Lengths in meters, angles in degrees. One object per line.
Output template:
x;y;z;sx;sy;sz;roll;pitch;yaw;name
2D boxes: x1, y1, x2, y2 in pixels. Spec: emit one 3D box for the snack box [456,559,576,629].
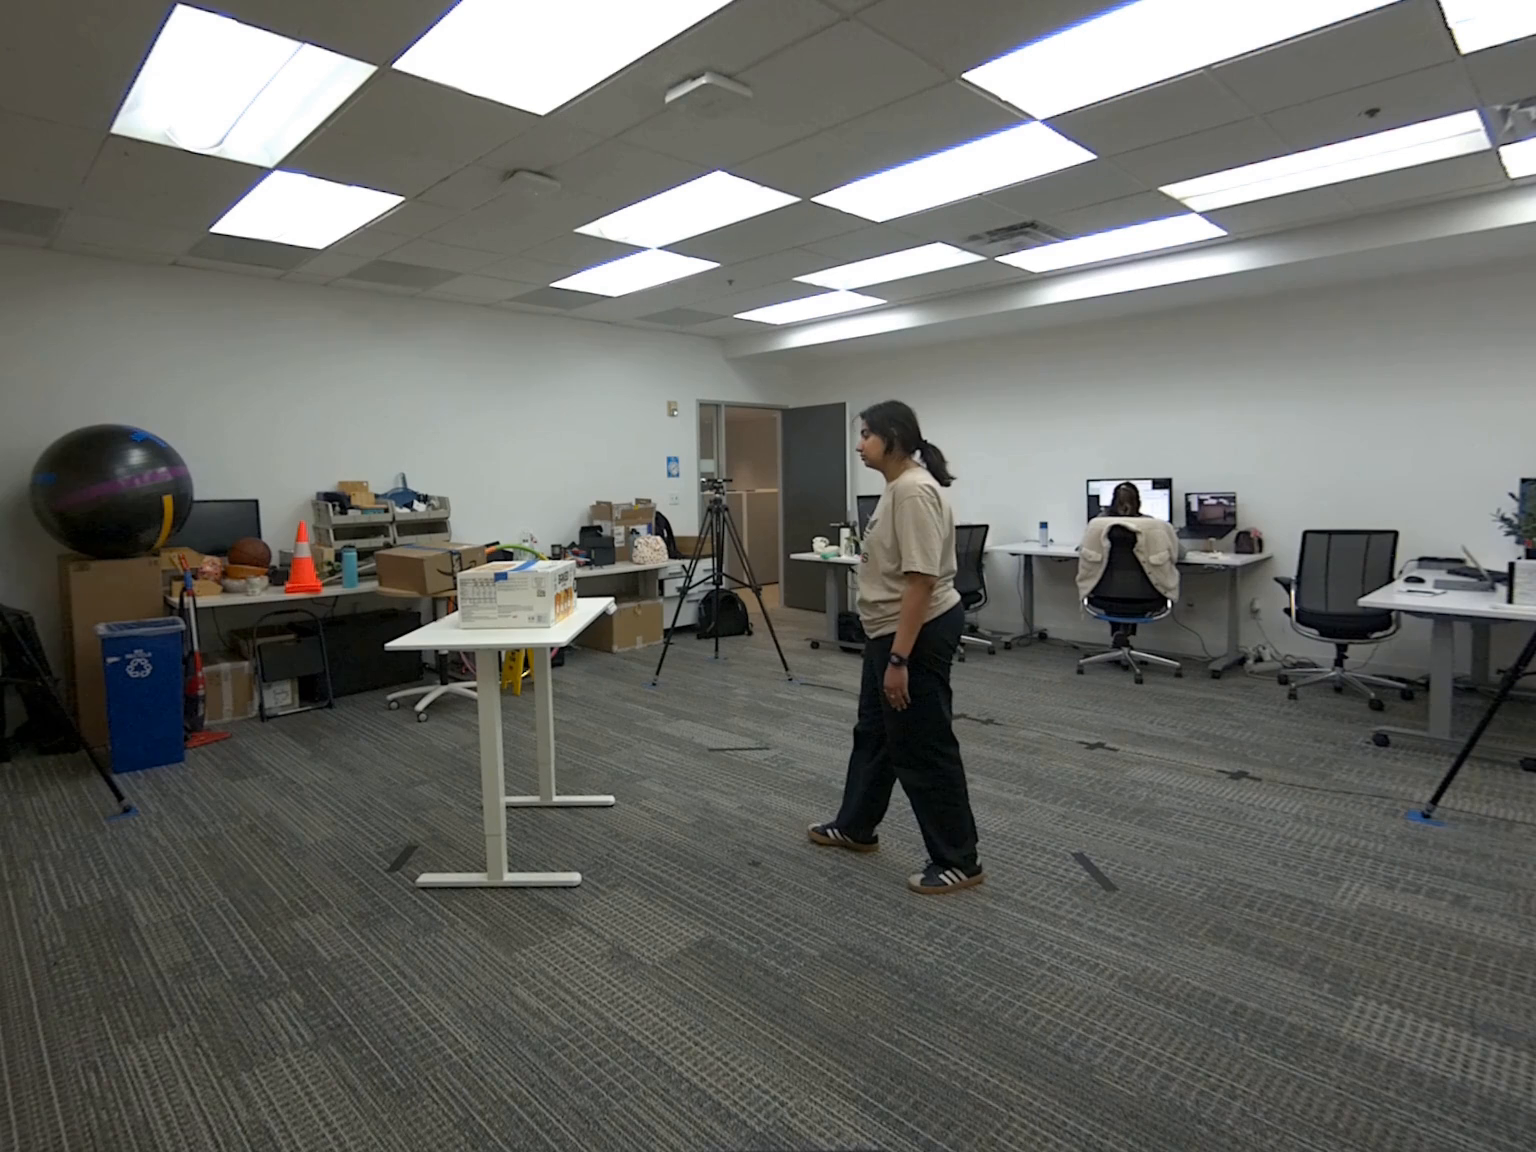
-0.935;0.063;3.250;0.341;0.204;0.406;-2;7;2;snack box
